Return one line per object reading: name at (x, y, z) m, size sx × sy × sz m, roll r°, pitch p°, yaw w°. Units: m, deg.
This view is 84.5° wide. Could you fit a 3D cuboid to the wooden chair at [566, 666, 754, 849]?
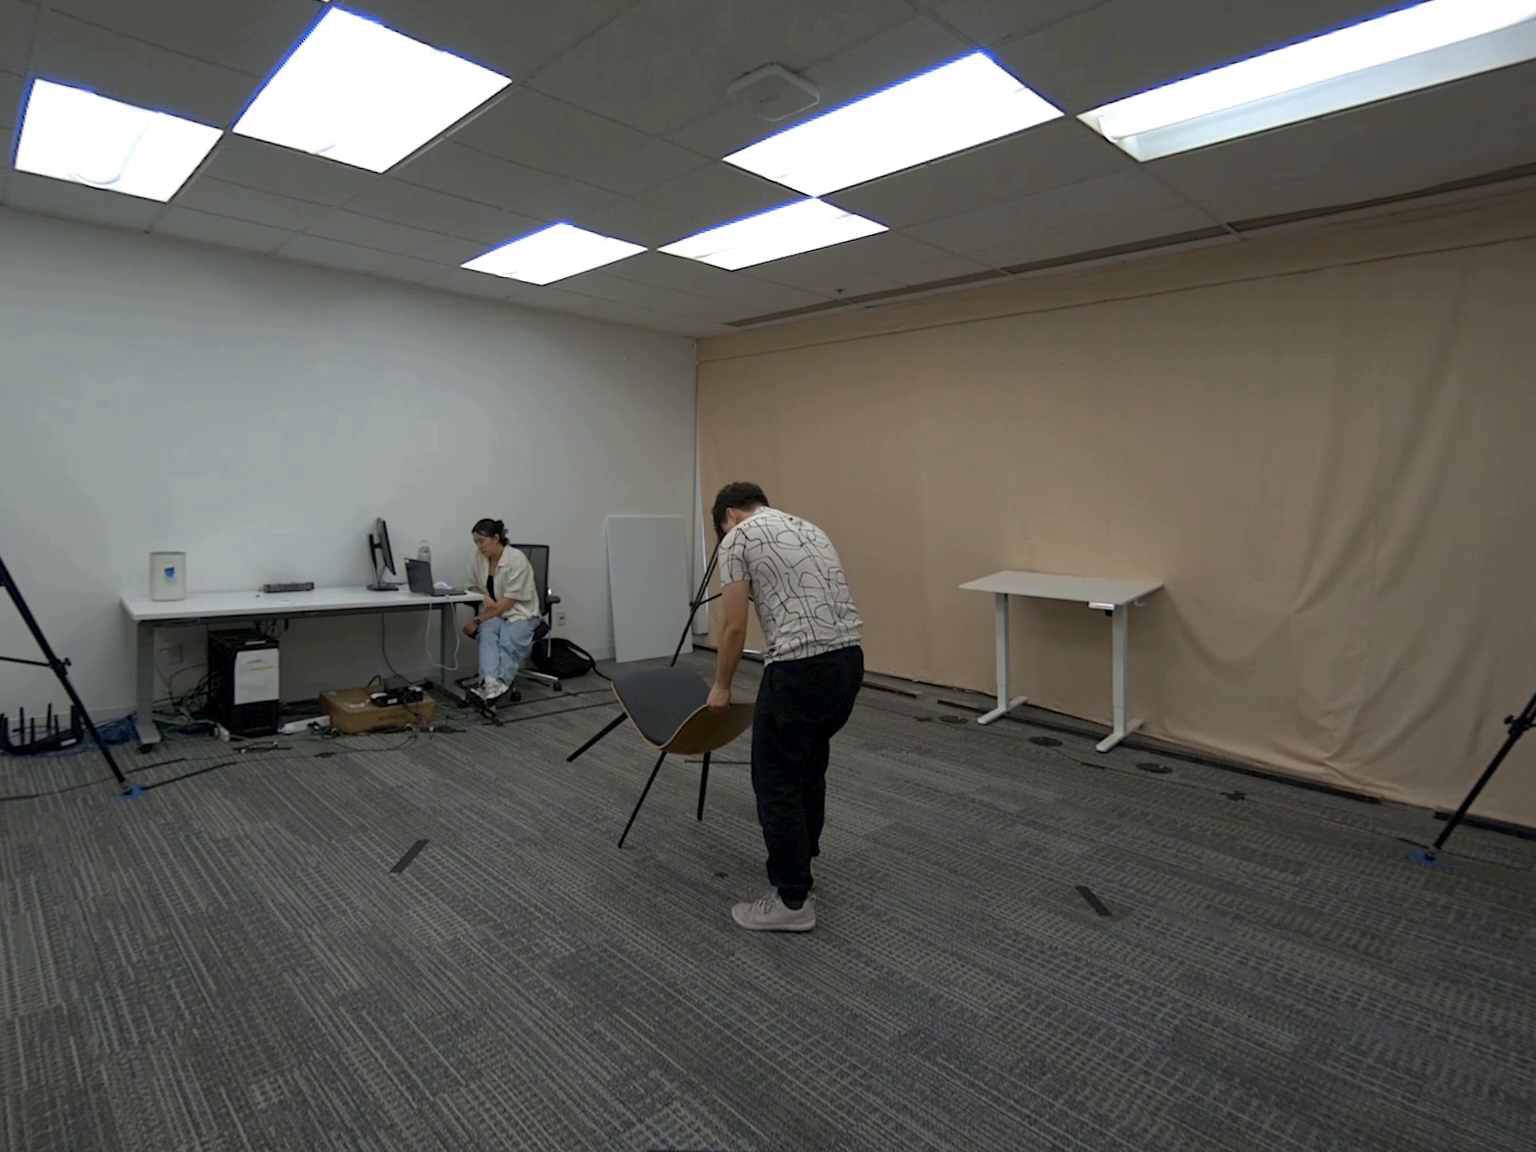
wooden chair at (-0.384, 0.586, 3.410) m, size 0.467 × 0.873 × 0.538 m, roll -2°, pitch 46°, yaw -46°
